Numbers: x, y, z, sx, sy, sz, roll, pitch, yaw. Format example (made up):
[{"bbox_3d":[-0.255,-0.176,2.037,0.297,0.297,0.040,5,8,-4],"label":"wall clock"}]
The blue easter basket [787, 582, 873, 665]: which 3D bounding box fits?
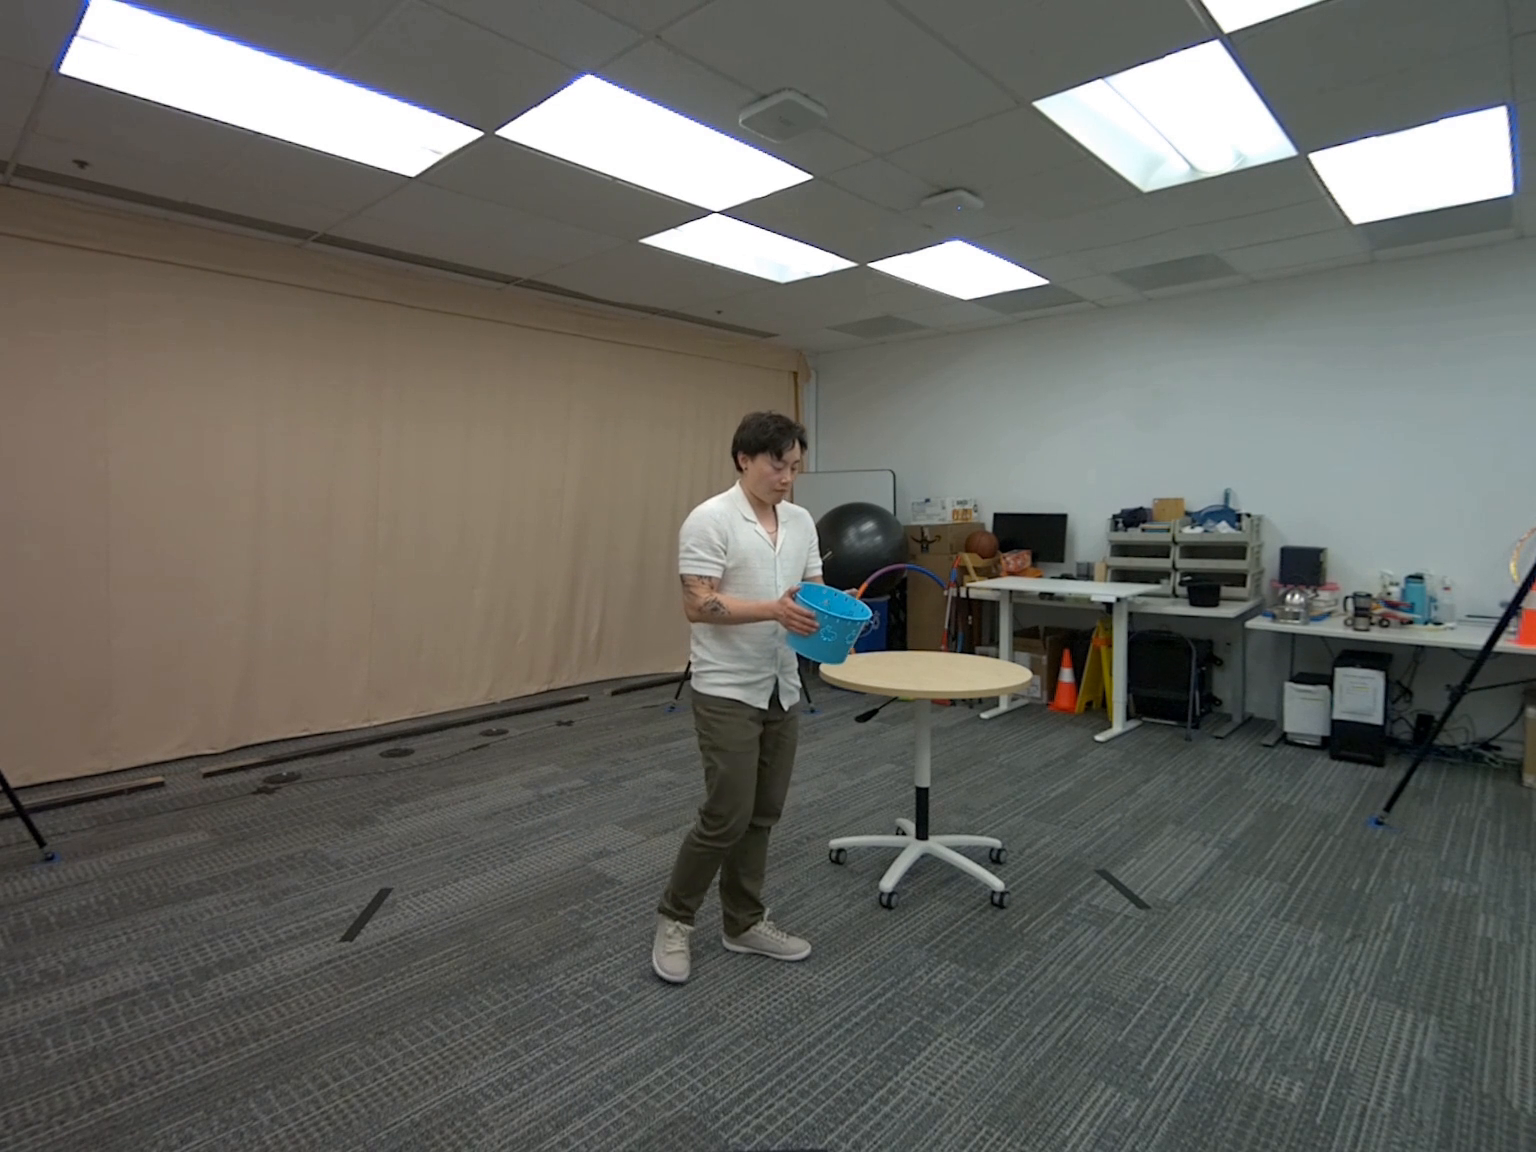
[{"bbox_3d":[0.155,0.138,2.349,0.242,0.155,0.246,14,16,-6],"label":"blue easter basket"}]
